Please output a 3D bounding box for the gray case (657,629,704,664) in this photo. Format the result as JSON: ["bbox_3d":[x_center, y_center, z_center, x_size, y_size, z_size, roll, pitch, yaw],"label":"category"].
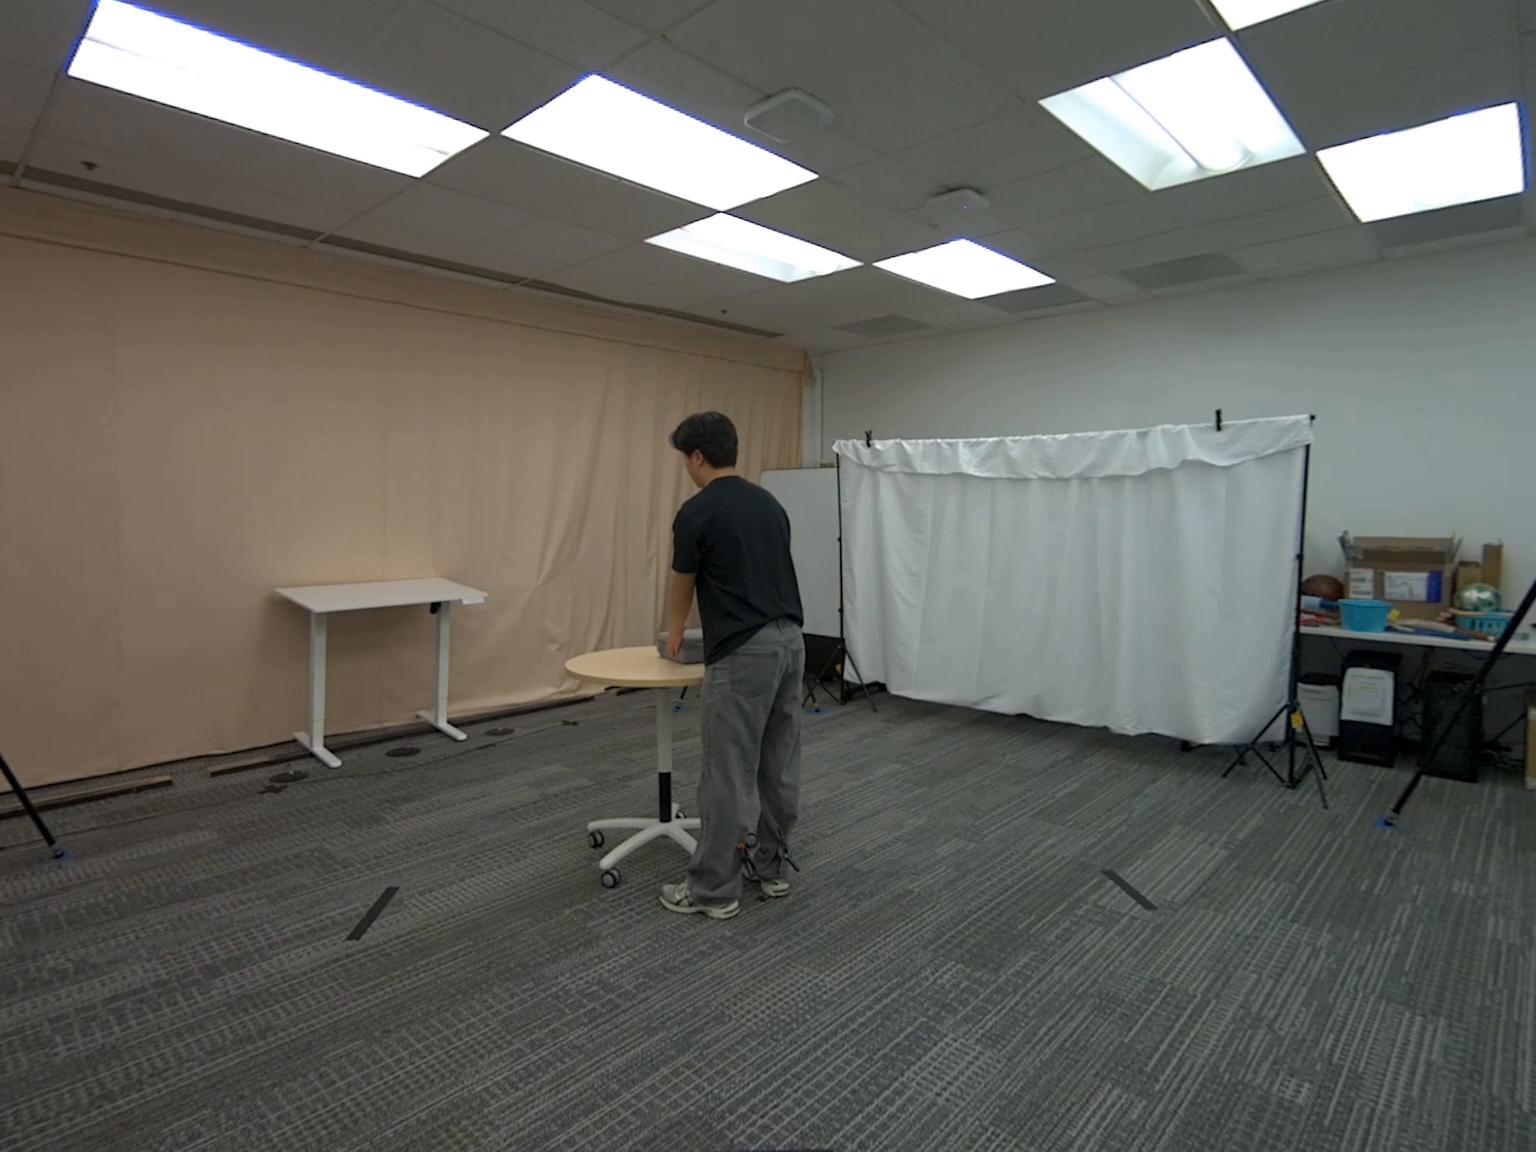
[{"bbox_3d":[-0.298,0.280,3.397,0.256,0.103,0.295,-4,4,-29],"label":"gray case"}]
